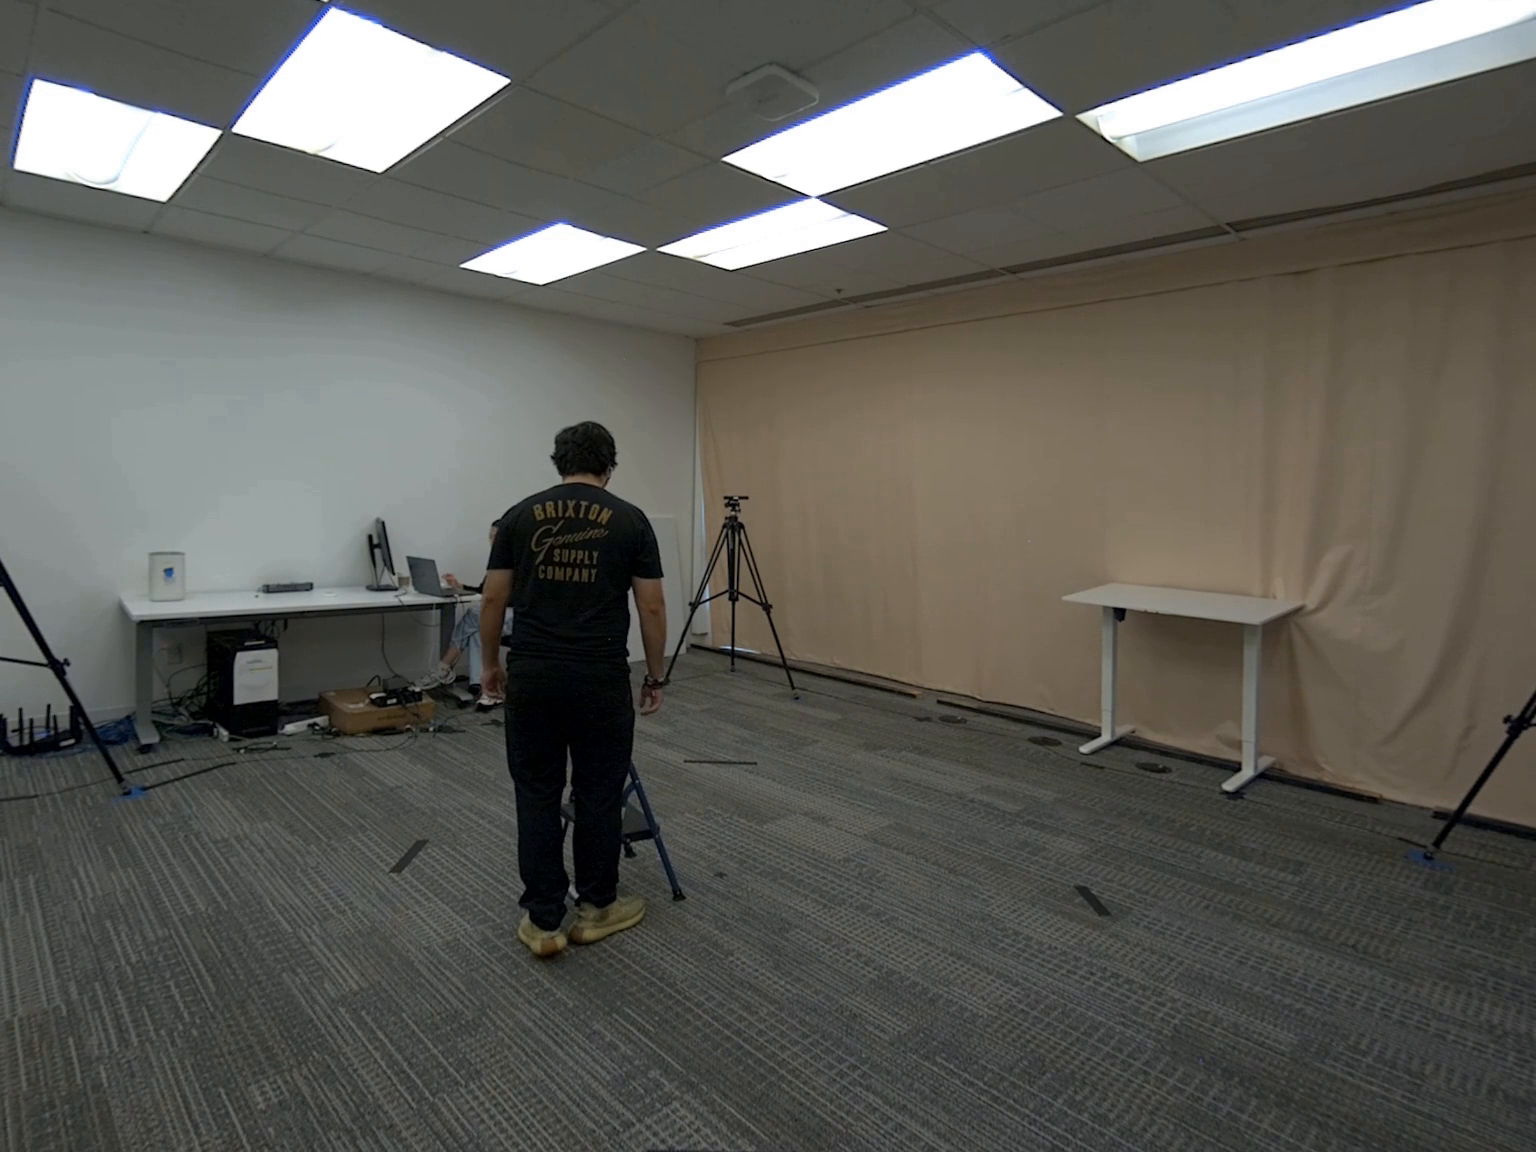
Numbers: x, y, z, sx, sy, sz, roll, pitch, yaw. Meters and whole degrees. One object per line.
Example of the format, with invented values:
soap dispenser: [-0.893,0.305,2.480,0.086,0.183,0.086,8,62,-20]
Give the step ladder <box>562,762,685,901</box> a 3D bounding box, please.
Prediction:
step ladder: [-0.540,0.805,2.985,0.342,0.604,0.441,-2,5,-33]
